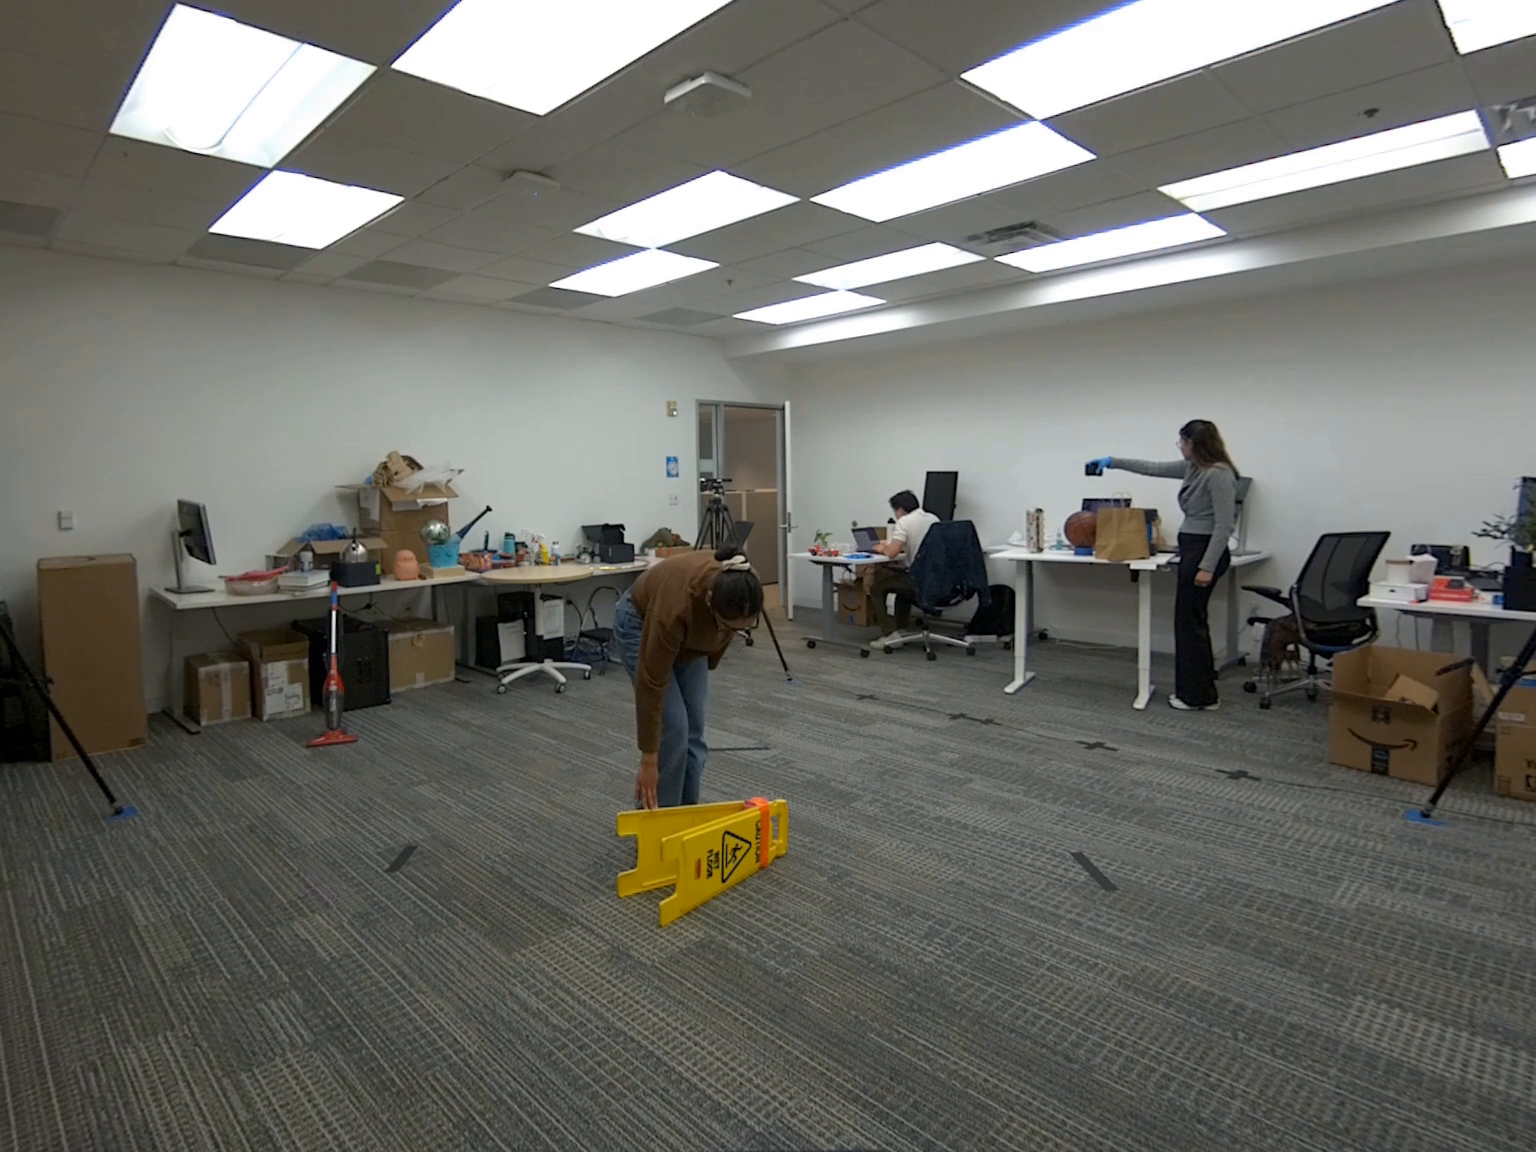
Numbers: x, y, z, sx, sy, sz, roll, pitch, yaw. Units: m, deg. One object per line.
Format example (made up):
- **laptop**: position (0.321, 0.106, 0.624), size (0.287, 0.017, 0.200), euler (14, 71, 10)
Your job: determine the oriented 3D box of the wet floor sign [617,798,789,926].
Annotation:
- **wet floor sign**: position (-0.181, 0.935, 2.972), size (0.628, 0.281, 0.298), euler (-2, 5, -39)
